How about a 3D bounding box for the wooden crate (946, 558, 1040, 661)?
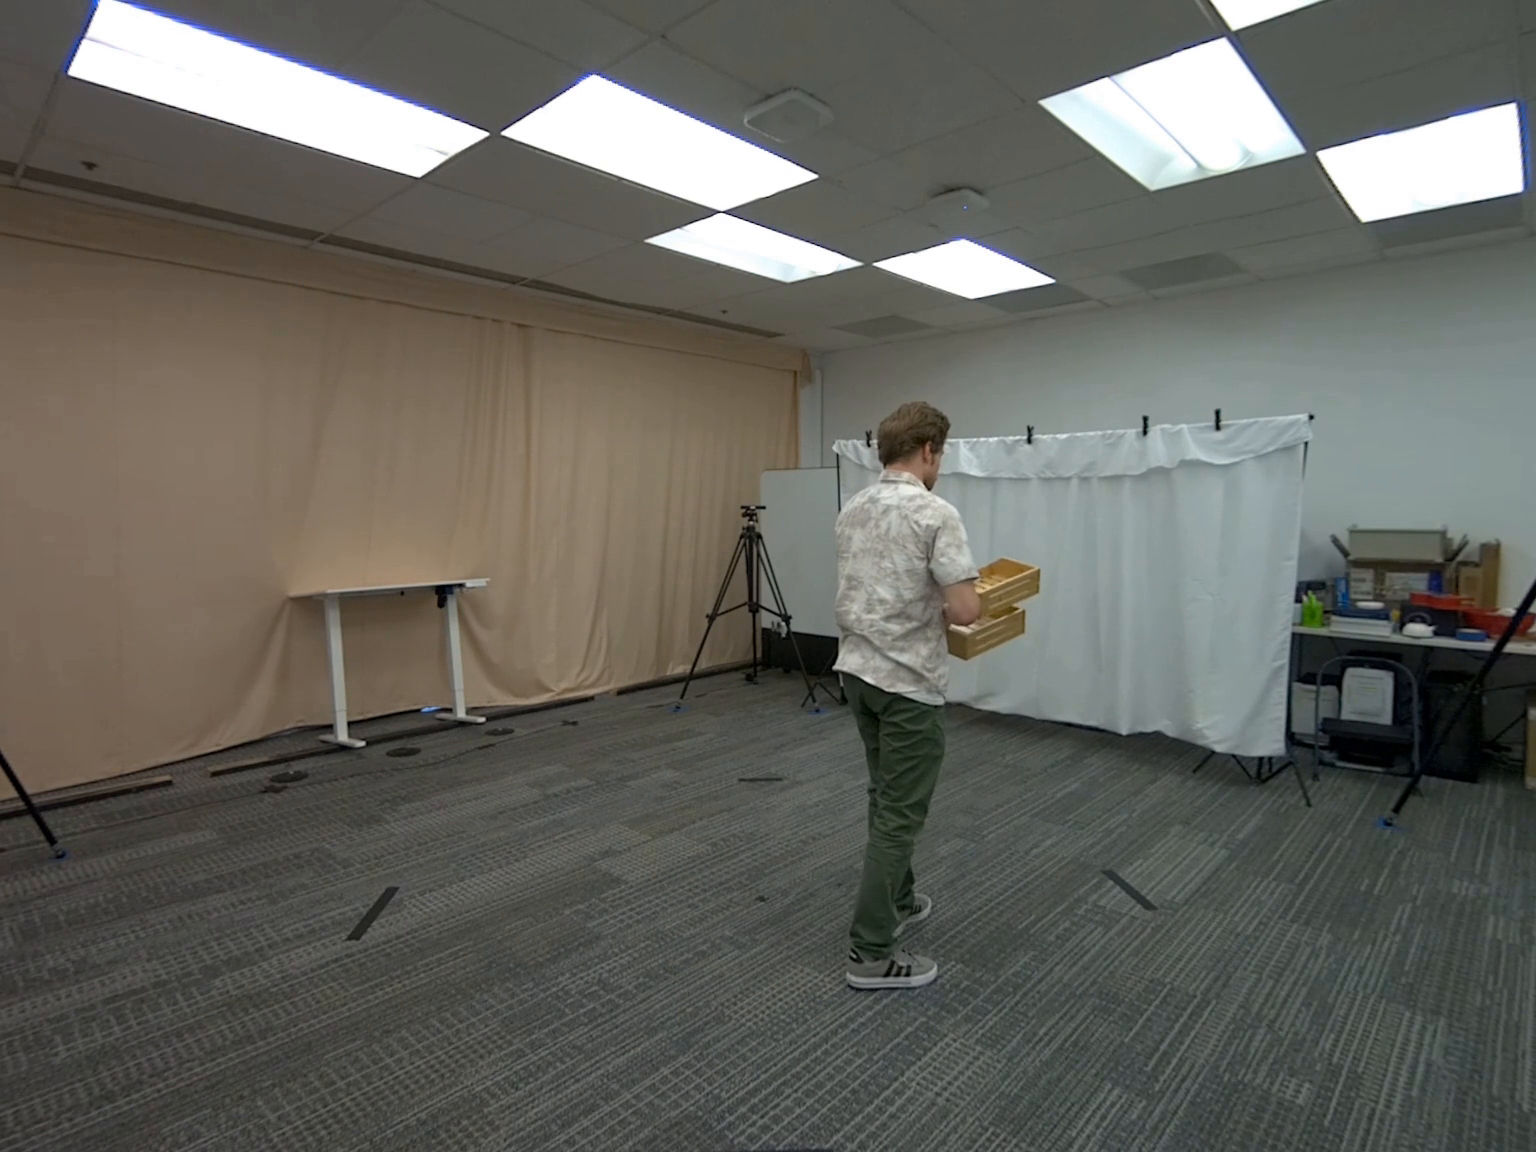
[{"bbox_3d":[0.720,0.093,2.893,0.317,0.269,0.313,-18,26,-32],"label":"wooden crate"}]
